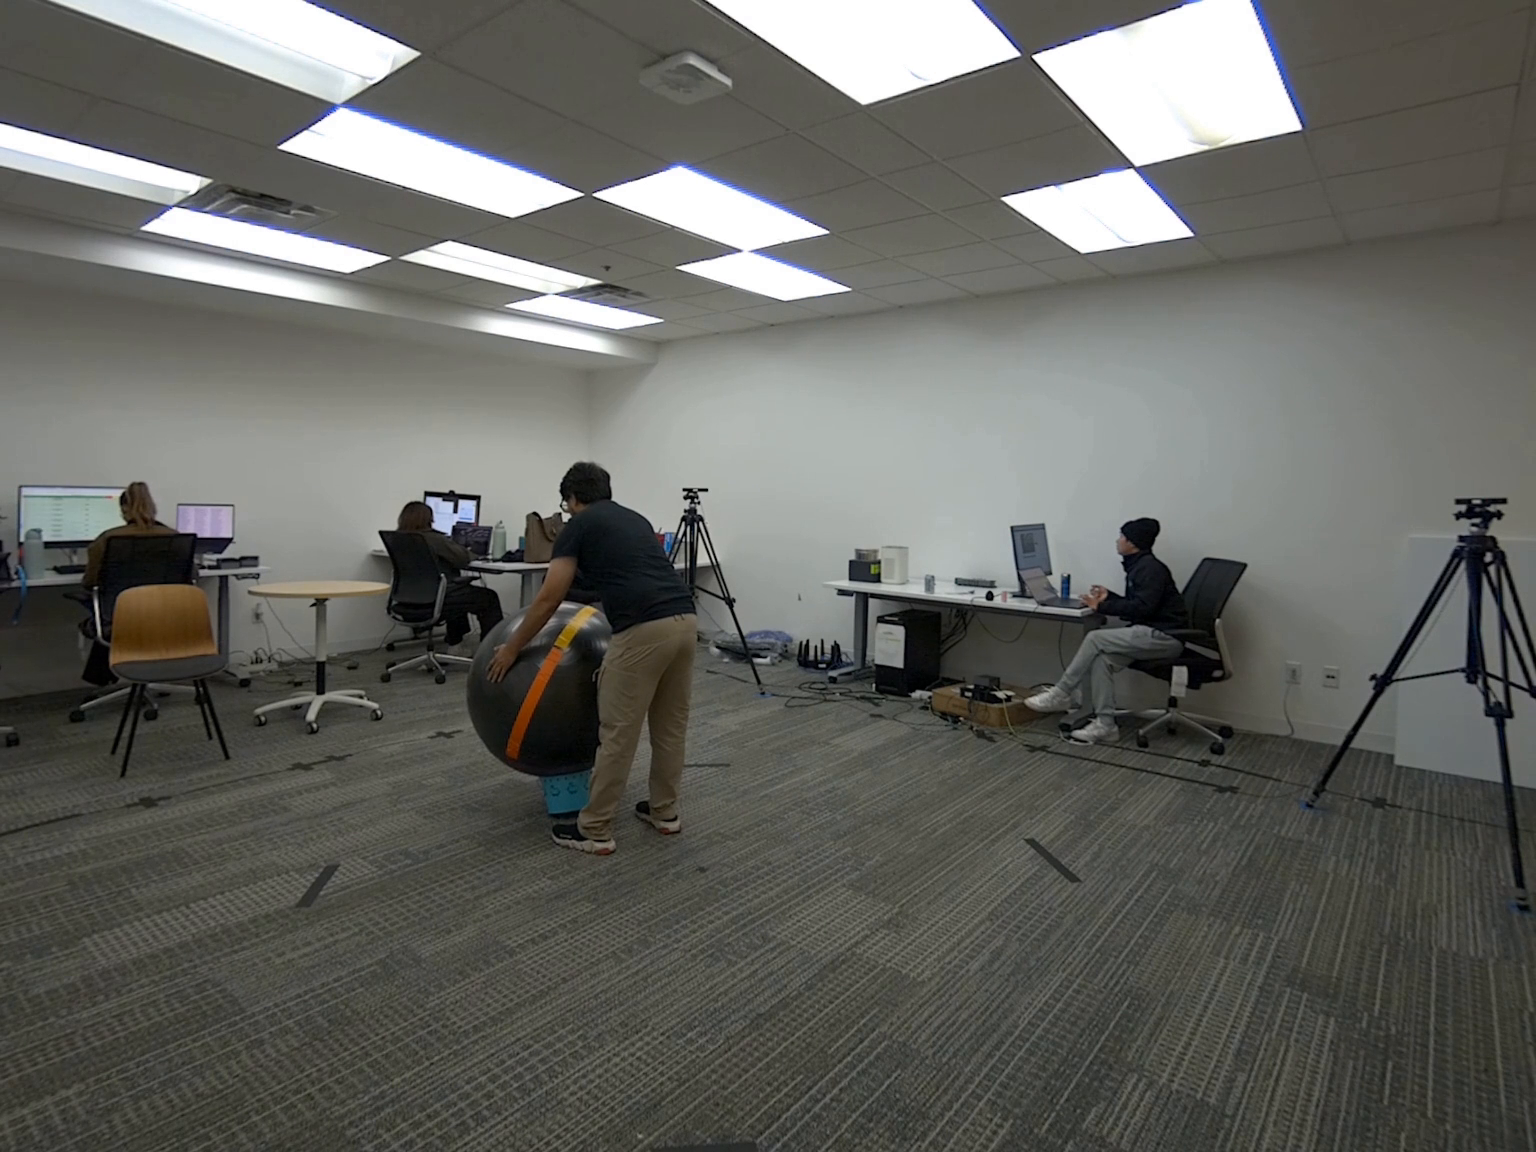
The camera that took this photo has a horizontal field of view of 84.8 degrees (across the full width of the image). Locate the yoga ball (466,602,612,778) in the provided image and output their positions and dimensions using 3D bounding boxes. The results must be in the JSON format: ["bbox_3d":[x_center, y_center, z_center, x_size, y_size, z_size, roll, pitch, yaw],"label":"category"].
[{"bbox_3d":[-0.939,0.491,3.720,0.757,0.756,0.762,1,4,-2],"label":"yoga ball"}]
